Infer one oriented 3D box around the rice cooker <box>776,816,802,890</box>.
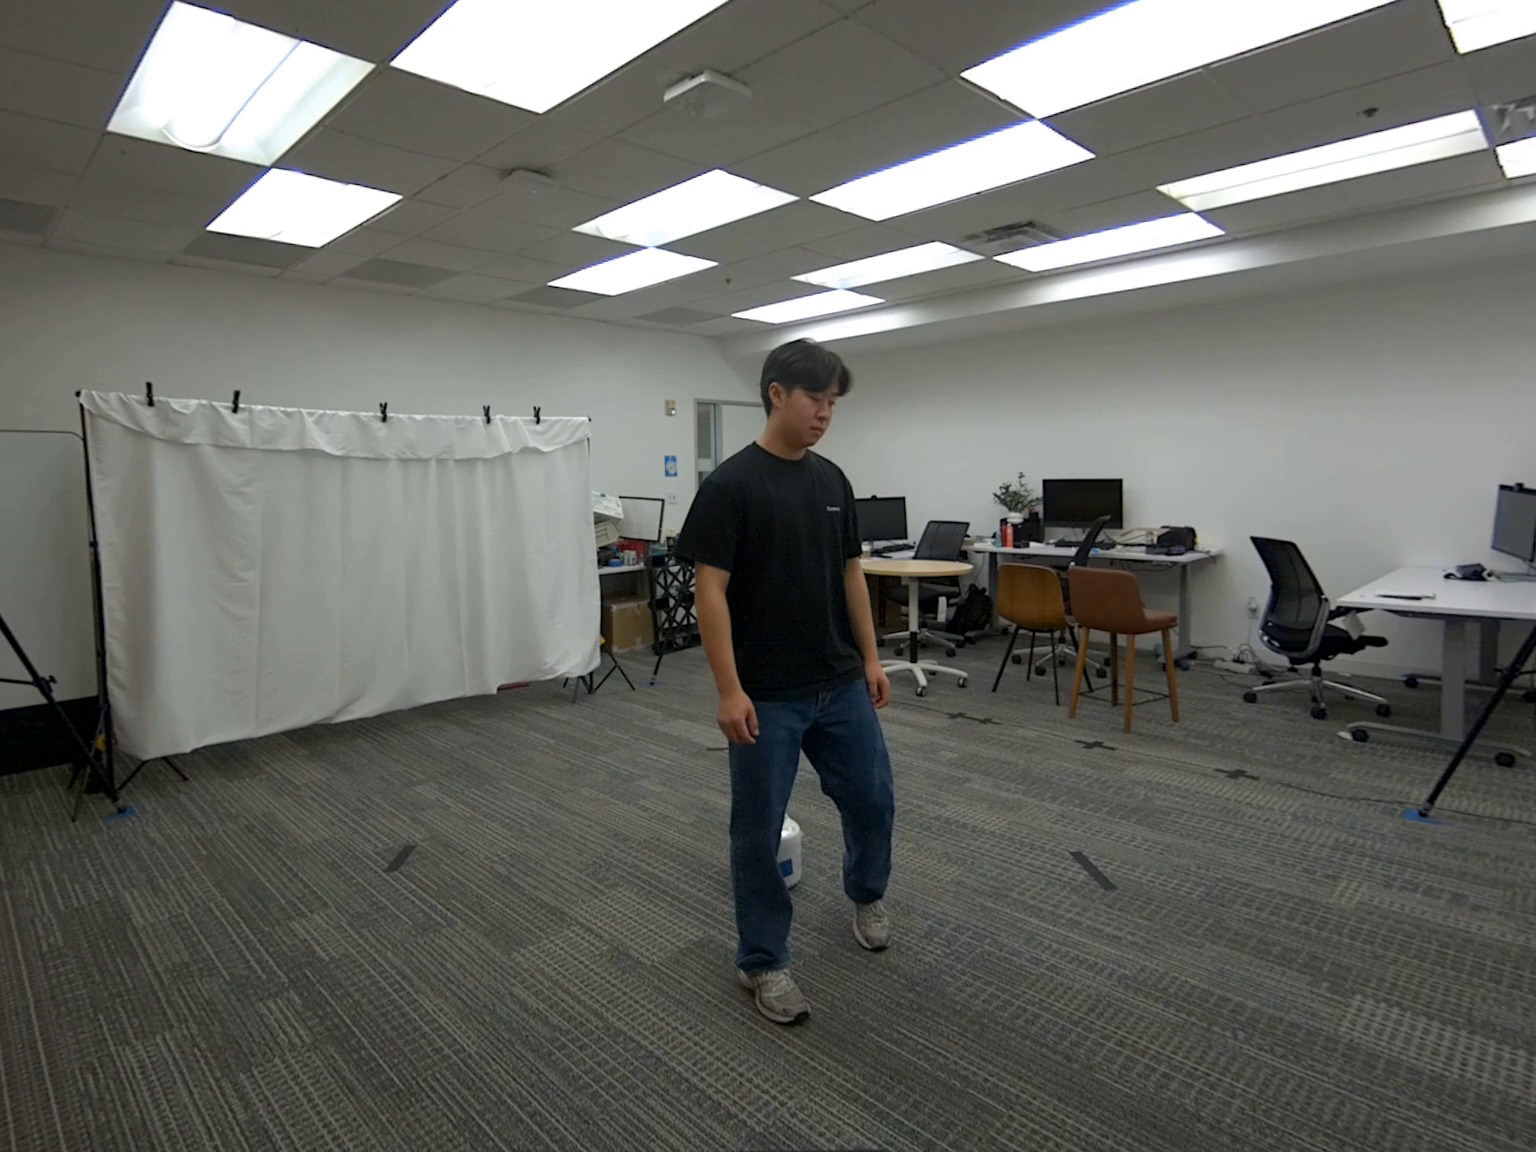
[{"bbox_3d":[0.017,0.942,2.959,0.215,0.232,0.224,-5,7,-43],"label":"rice cooker"}]
